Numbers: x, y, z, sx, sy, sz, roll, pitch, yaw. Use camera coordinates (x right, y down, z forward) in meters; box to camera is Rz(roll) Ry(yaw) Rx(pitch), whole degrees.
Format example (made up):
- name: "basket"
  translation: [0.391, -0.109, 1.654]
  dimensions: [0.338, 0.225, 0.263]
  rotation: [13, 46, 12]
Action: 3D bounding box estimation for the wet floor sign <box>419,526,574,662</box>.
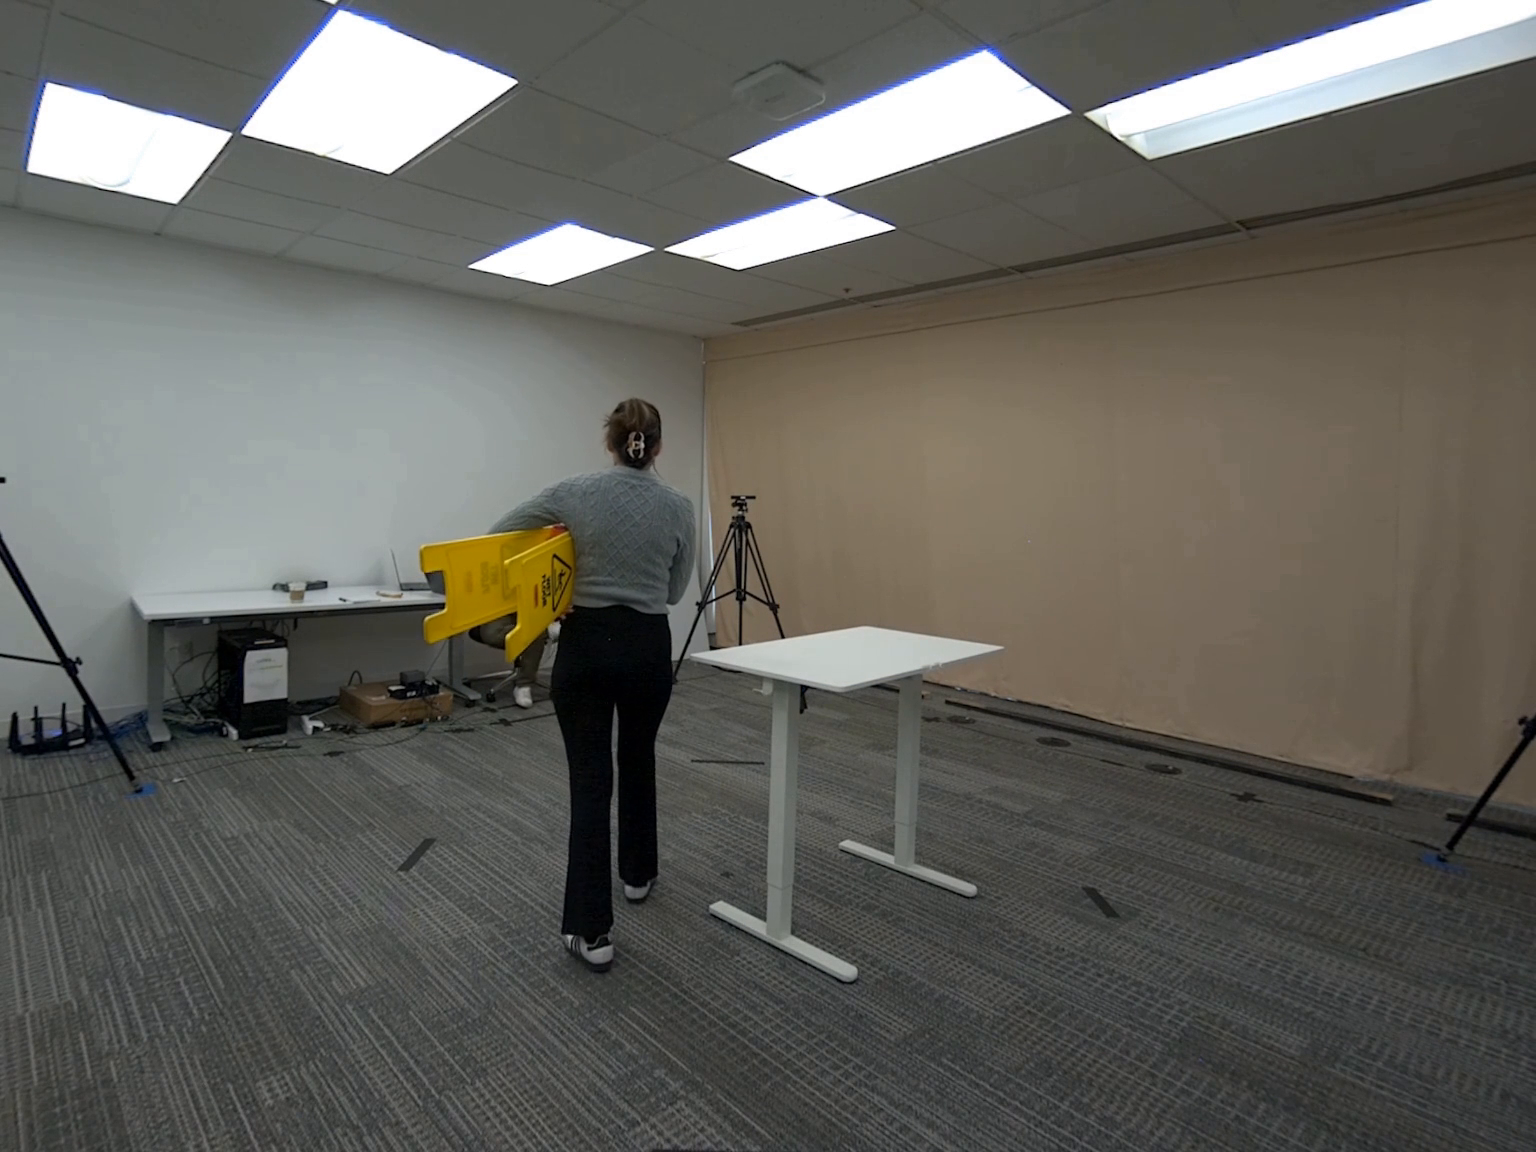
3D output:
- name: "wet floor sign"
  translation: [-0.708, -0.001, 2.546]
  dimensions: [0.294, 0.279, 0.643]
  rotation: [6, 17, 18]
